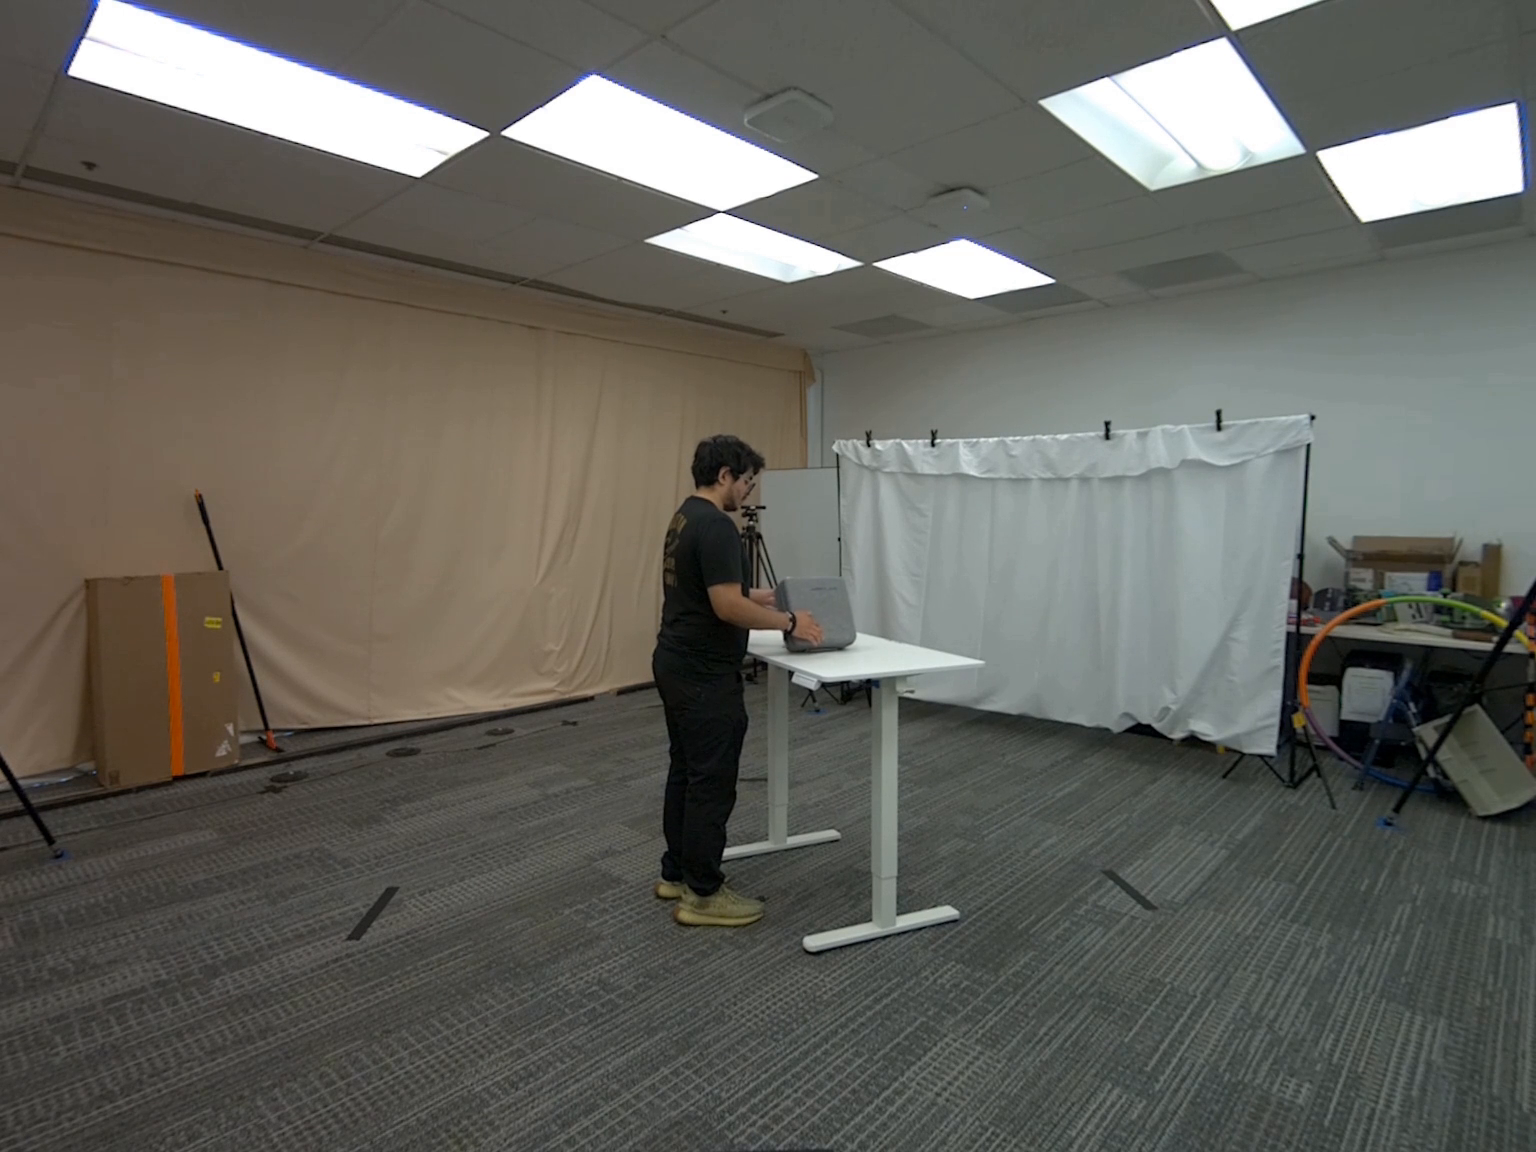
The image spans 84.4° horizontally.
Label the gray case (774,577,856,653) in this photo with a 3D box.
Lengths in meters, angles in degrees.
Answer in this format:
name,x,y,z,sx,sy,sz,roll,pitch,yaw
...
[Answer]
name,x,y,z,sx,sy,sz,roll,pitch,yaw
gray case,0.174,0.130,2.959,0.252,0.263,0.105,-2,-16,-19
